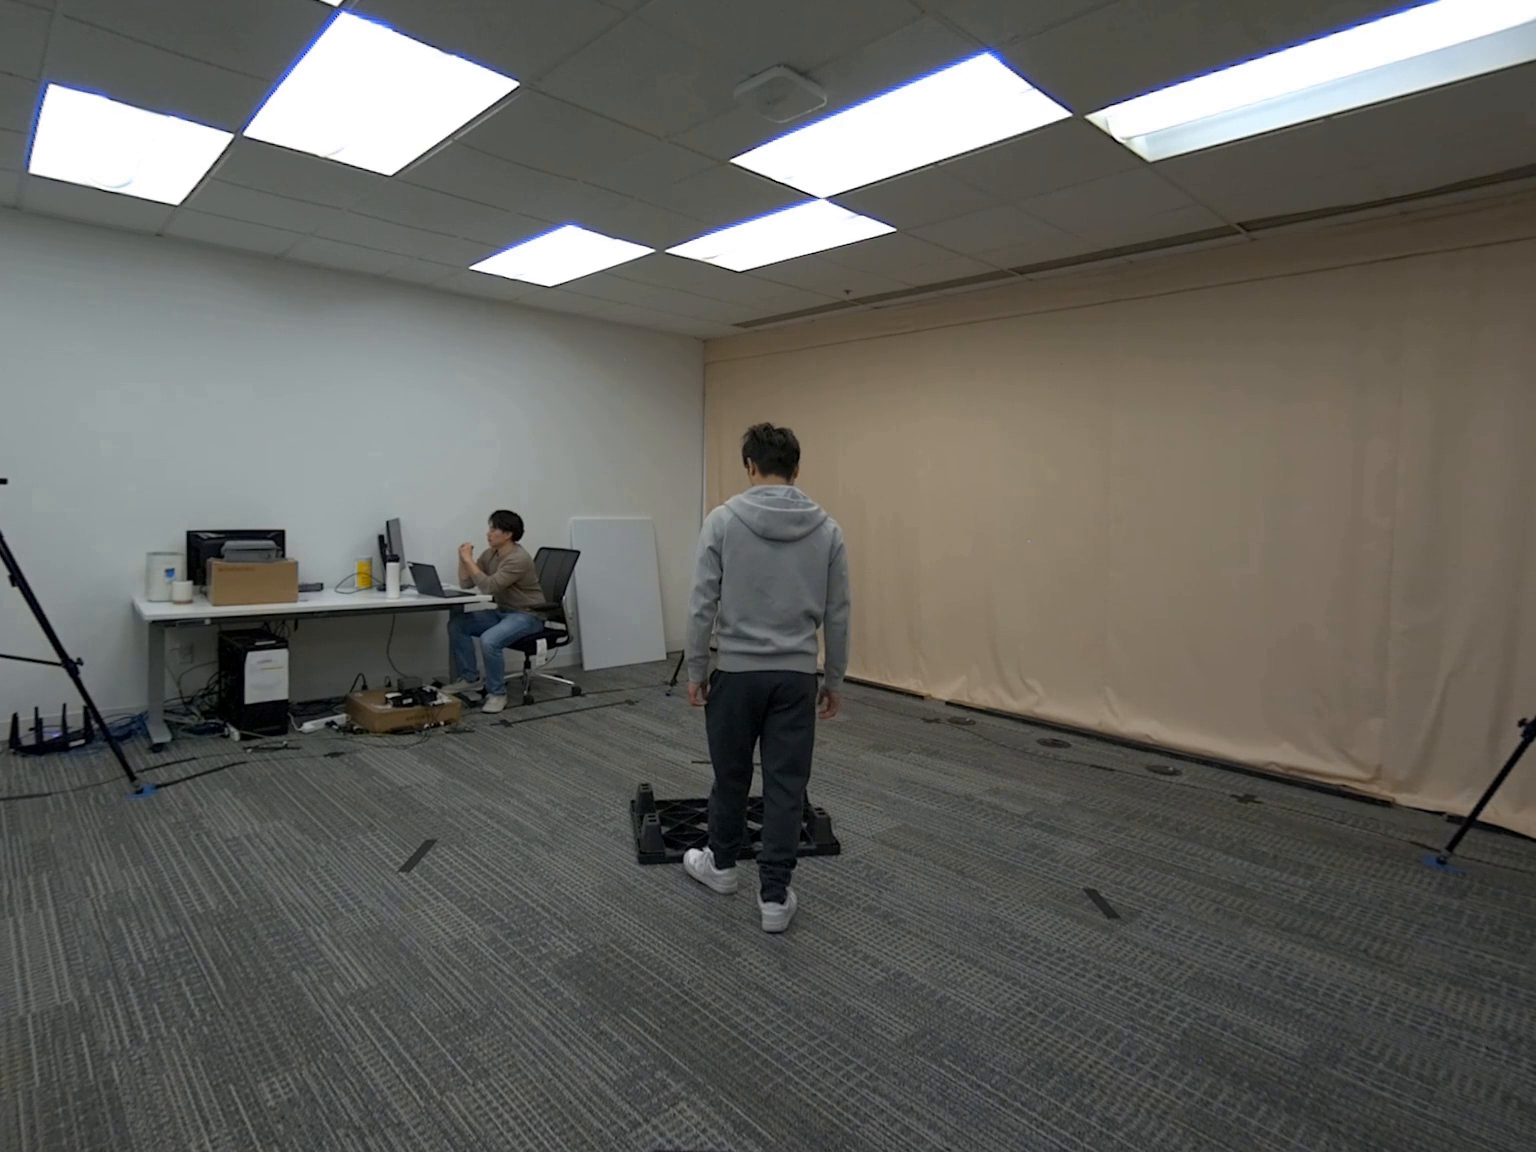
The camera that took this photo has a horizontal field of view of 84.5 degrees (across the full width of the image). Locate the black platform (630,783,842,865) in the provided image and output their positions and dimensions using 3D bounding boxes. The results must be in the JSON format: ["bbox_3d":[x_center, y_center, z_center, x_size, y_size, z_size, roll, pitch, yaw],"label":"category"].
[{"bbox_3d":[-0.171,1.003,3.528,0.798,0.143,0.612,0,5,-12],"label":"black platform"}]
